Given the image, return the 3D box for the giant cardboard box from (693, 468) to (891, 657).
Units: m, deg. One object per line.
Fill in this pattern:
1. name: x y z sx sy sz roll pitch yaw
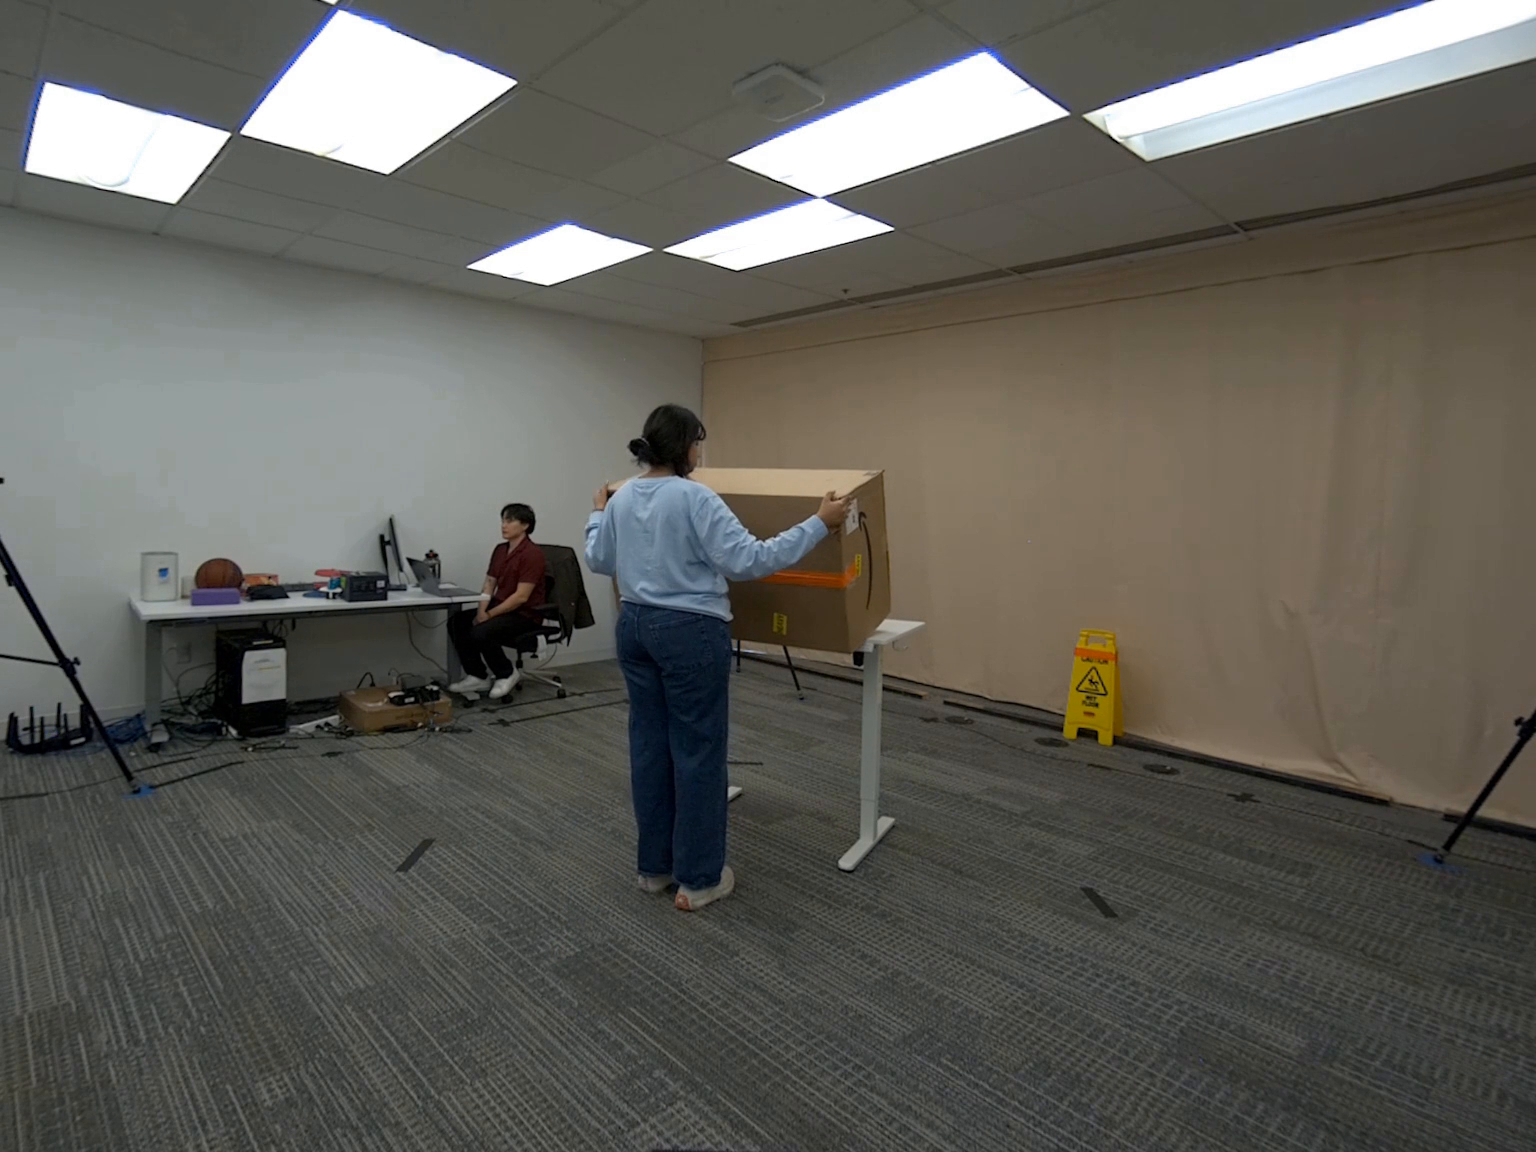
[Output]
1. giant cardboard box: -0.087 -0.095 3.308 1.049 0.570 0.422 5 20 30
